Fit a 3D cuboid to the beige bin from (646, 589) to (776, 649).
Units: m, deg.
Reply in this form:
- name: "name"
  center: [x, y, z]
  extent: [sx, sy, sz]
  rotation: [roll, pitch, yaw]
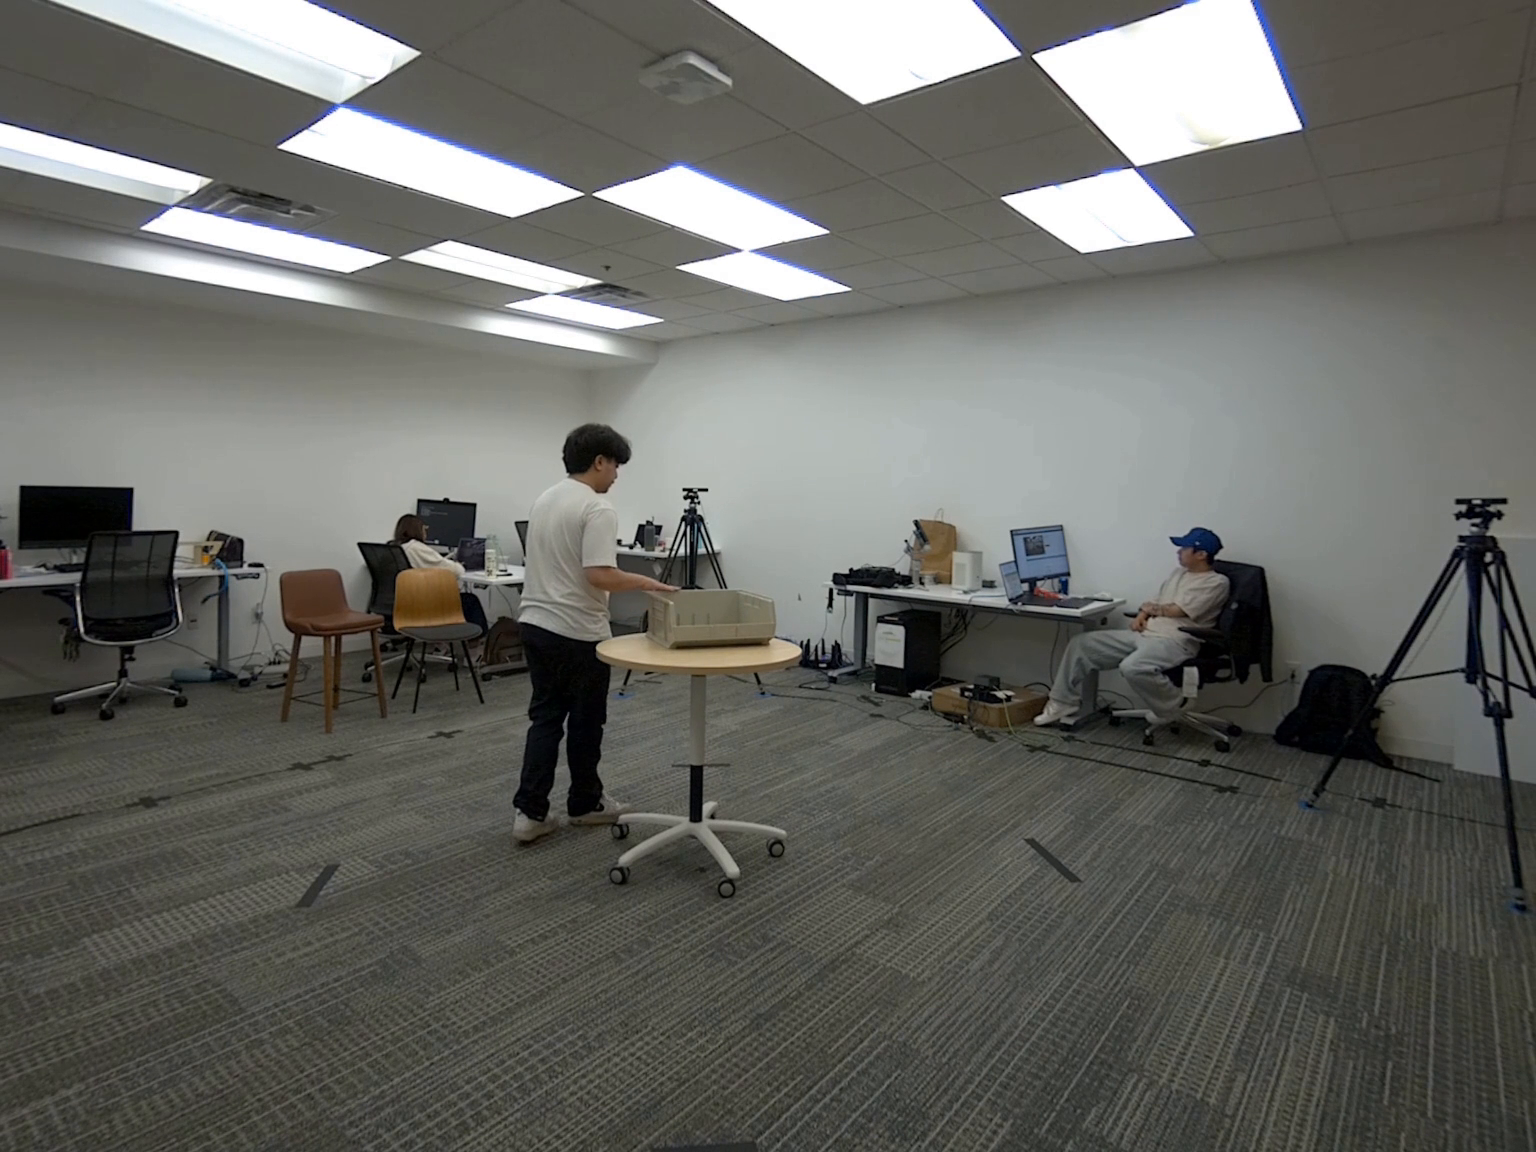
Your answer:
- name: "beige bin"
  center: [-0.241, 0.166, 3.323]
  extent: [0.413, 0.188, 0.386]
  rotation: [-1, 4, -21]
